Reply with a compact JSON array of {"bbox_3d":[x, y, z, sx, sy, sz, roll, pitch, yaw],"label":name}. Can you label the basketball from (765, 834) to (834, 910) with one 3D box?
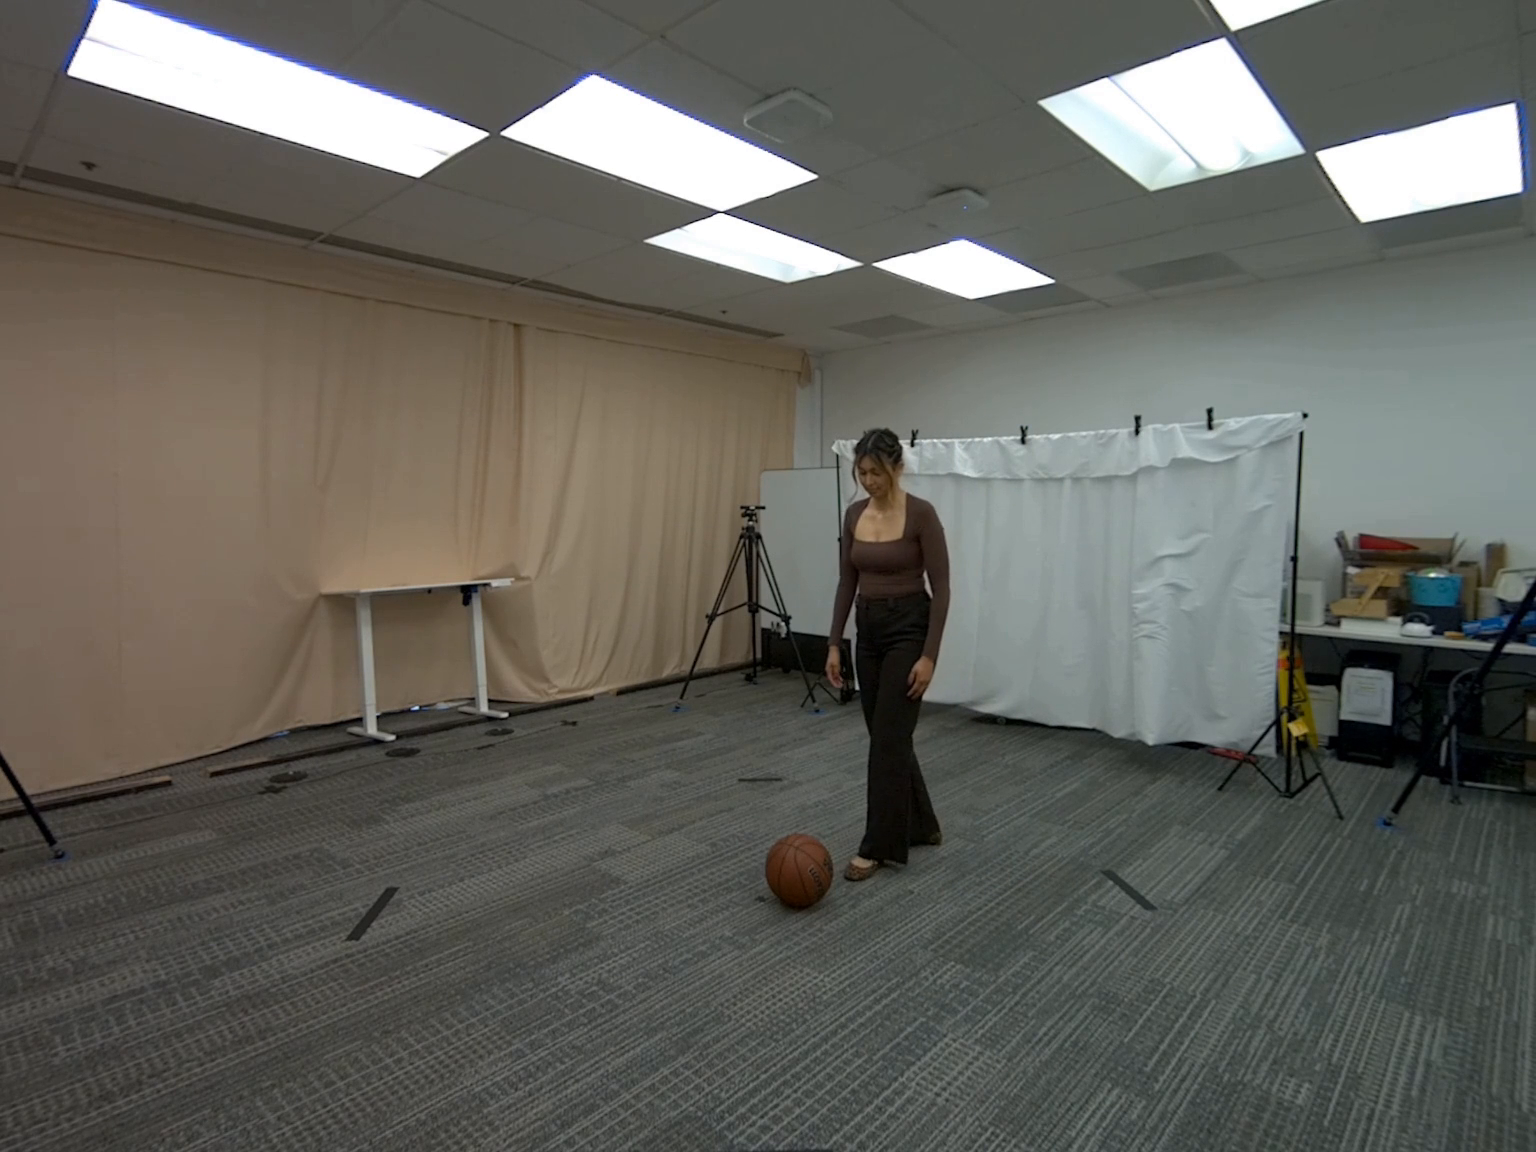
[{"bbox_3d":[0.110,1.026,2.947,0.236,0.235,0.237,0,4,-2],"label":"basketball"}]
